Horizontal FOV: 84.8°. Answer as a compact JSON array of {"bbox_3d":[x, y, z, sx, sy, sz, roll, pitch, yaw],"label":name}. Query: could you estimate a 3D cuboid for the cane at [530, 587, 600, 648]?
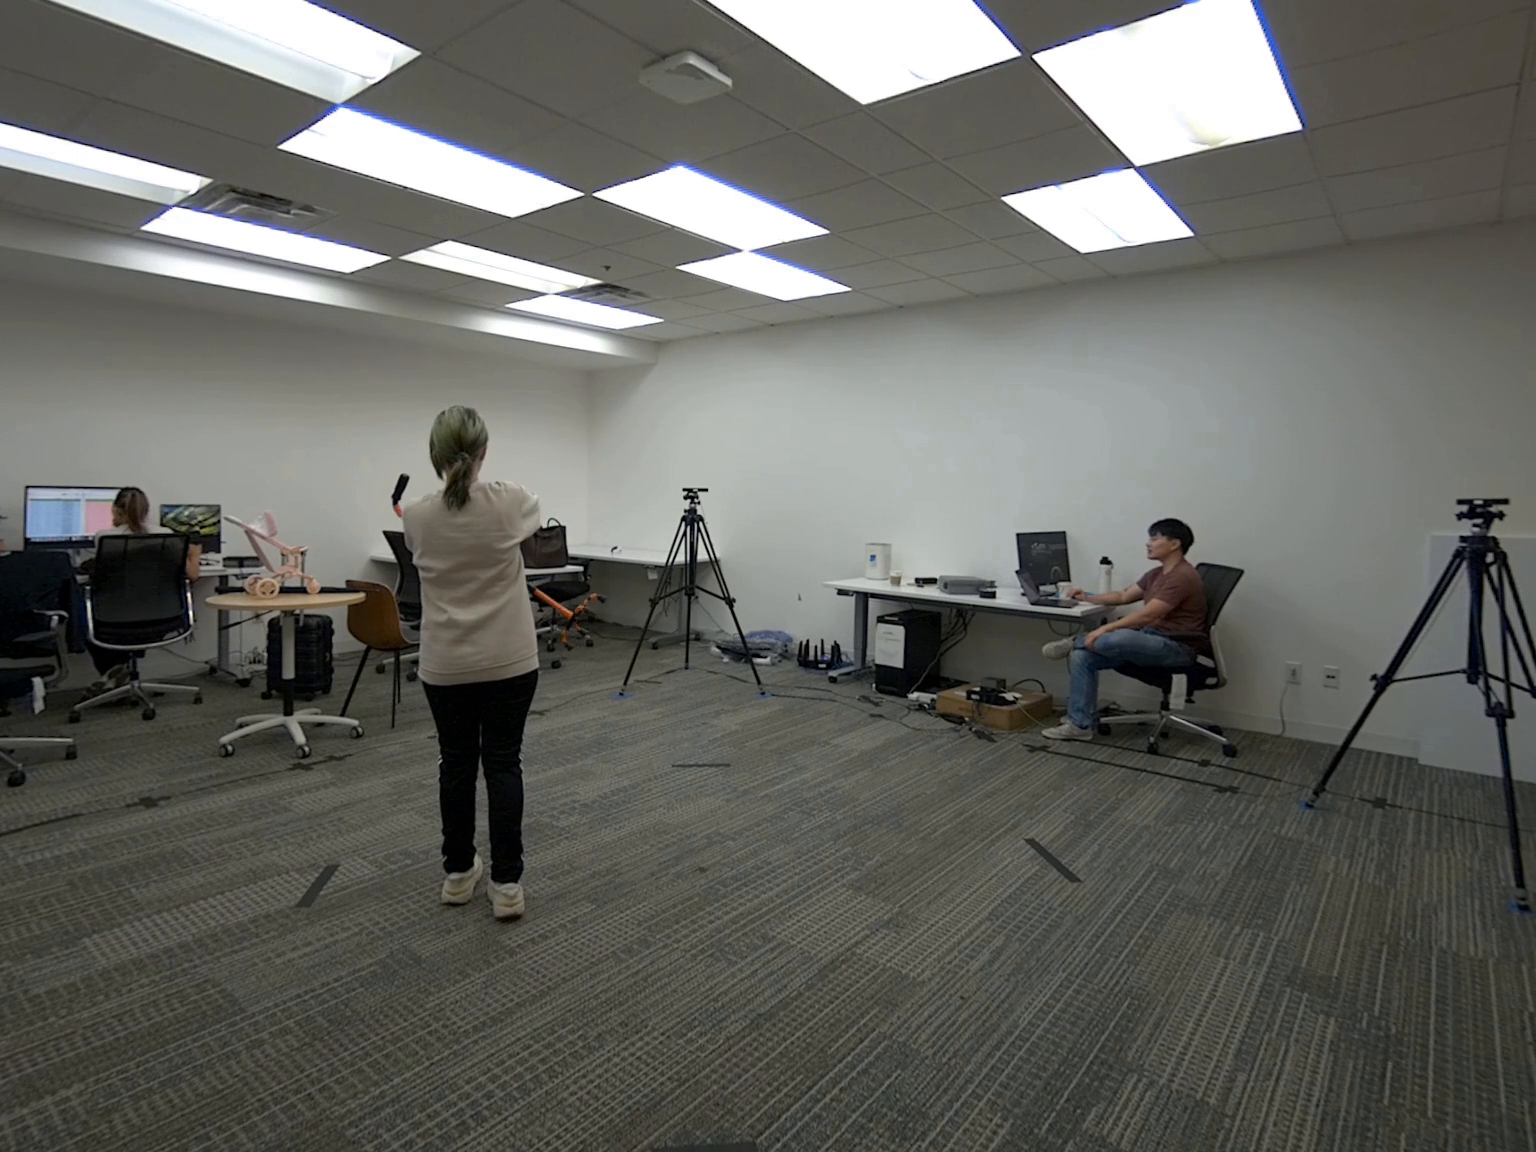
[{"bbox_3d":[-1.073,-0.068,3.251,0.913,0.205,0.151,34,21,4],"label":"cane"}]
